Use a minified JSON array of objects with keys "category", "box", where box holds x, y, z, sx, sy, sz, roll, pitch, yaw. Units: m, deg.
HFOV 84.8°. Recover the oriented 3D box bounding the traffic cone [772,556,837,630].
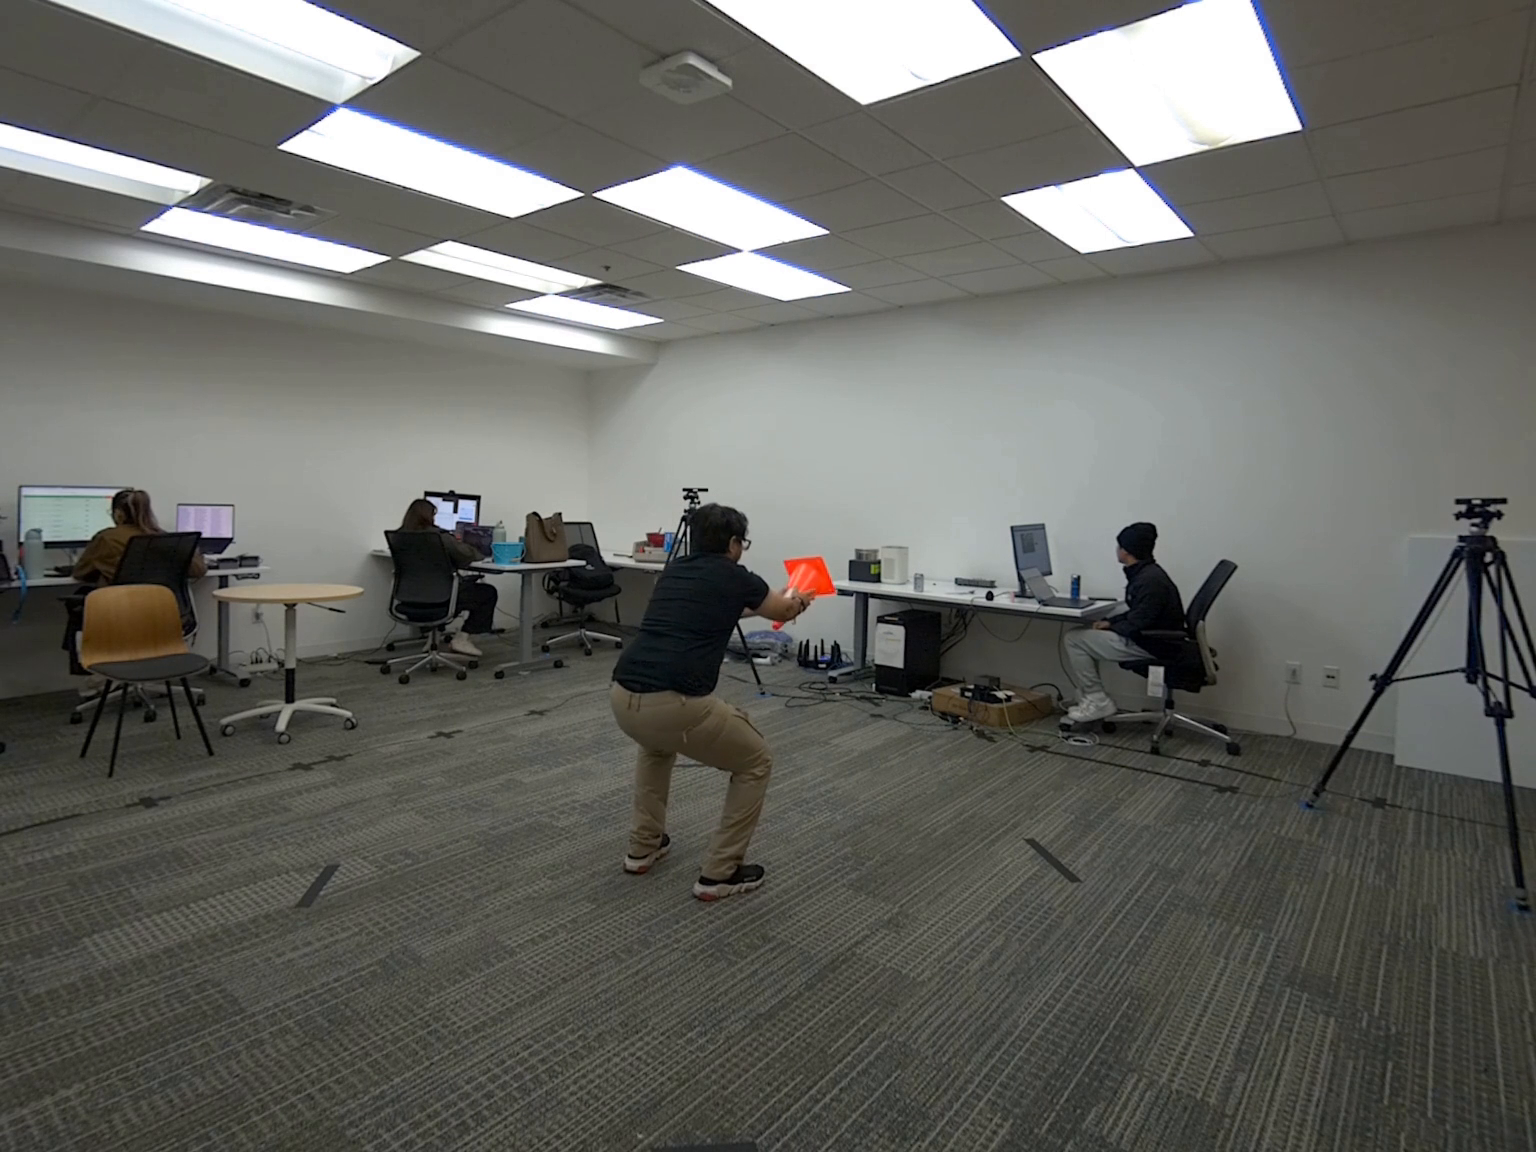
[{"category":"traffic cone","box":[0.096,0.107,3.586,0.210,0.198,0.383,-6,27,34]}]
